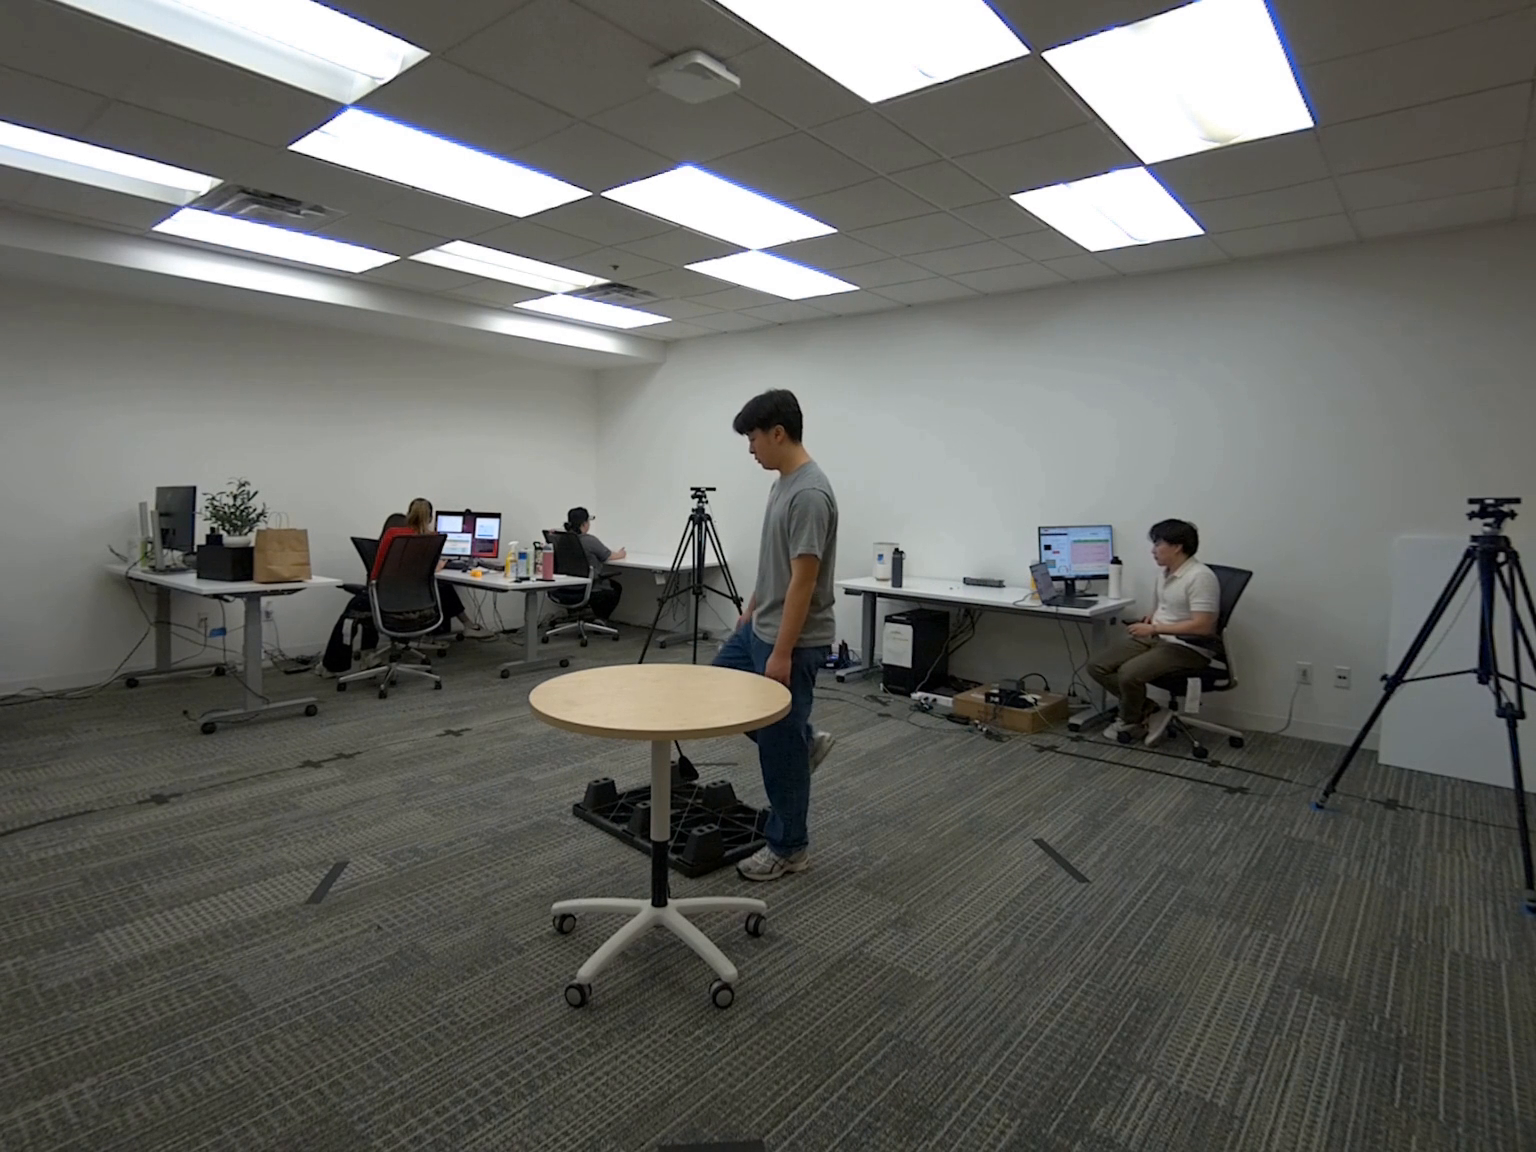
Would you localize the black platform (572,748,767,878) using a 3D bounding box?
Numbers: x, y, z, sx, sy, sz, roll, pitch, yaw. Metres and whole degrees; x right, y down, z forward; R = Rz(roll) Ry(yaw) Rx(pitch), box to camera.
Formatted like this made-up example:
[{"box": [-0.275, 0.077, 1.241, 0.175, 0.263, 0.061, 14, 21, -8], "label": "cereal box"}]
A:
[{"box": [-0.359, 0.958, 3.505, 0.587, 0.143, 0.833, -4, 7, -44], "label": "black platform"}]
